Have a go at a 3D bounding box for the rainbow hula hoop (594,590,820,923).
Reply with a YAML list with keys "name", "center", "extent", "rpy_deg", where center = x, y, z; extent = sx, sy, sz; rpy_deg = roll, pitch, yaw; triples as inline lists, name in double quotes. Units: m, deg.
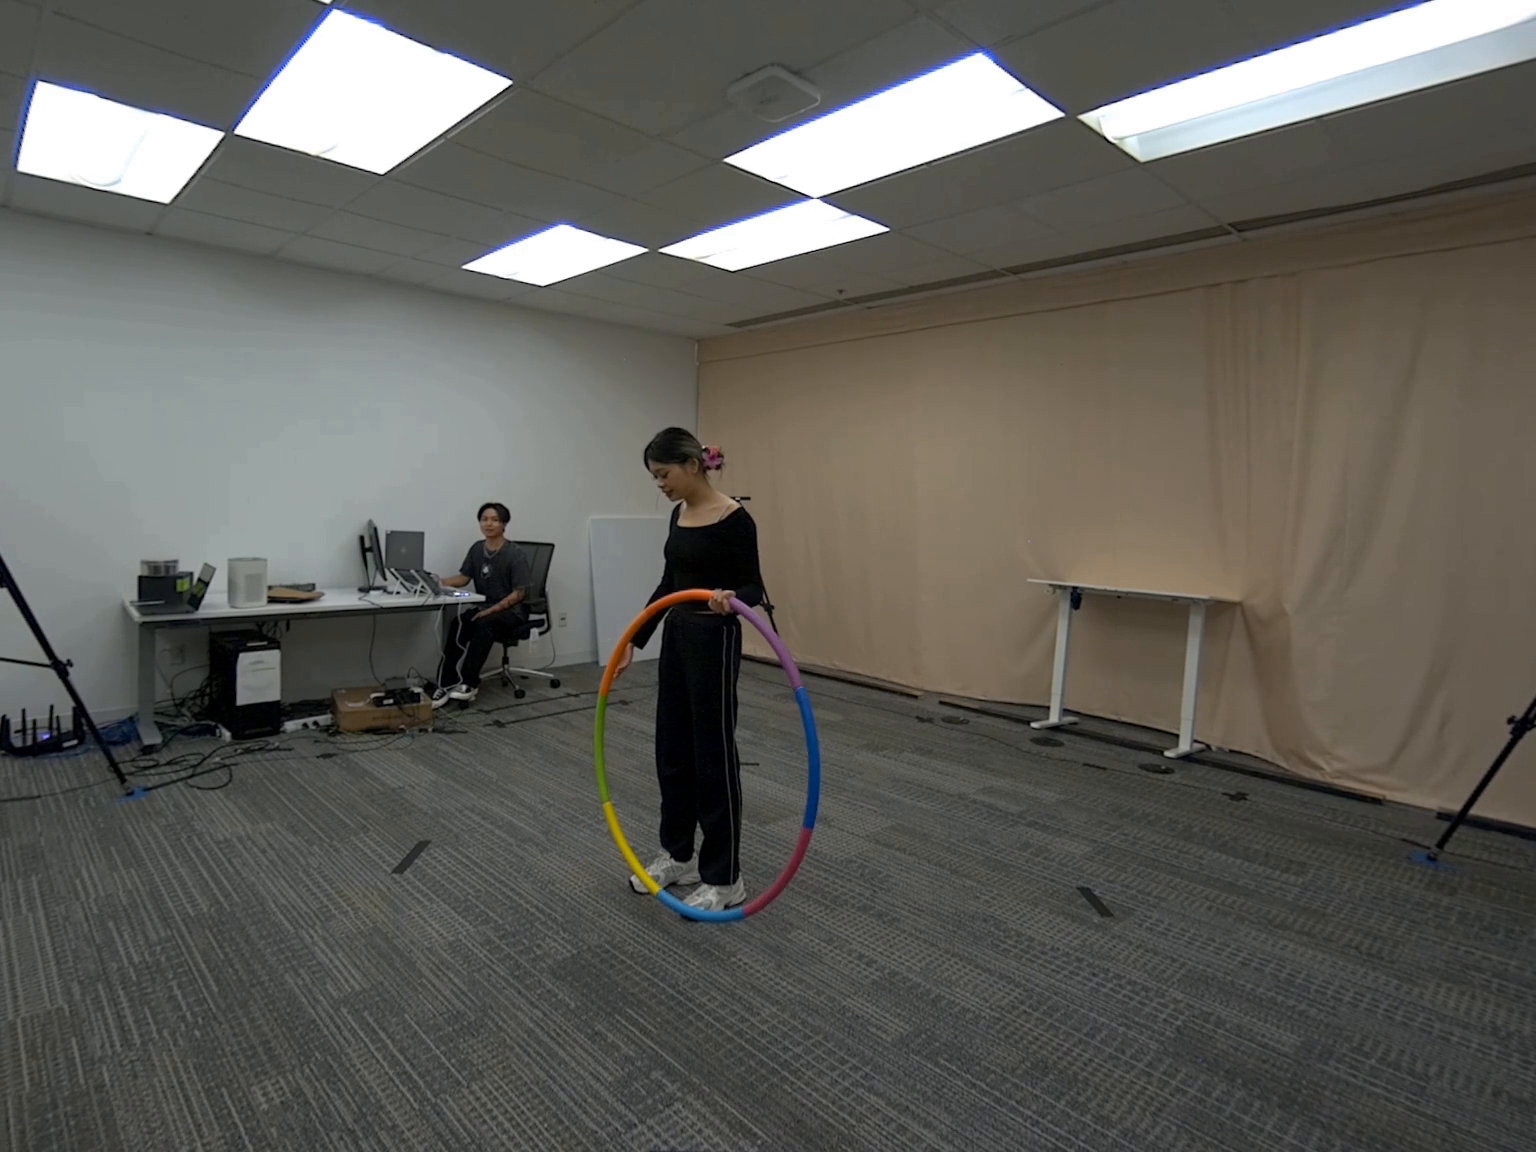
- name: "rainbow hula hoop"
  center: [-0.236, 0.545, 2.597]
  extent: [1.004, 0.979, 0.034]
  rpy_deg: [5, -1, 42]
